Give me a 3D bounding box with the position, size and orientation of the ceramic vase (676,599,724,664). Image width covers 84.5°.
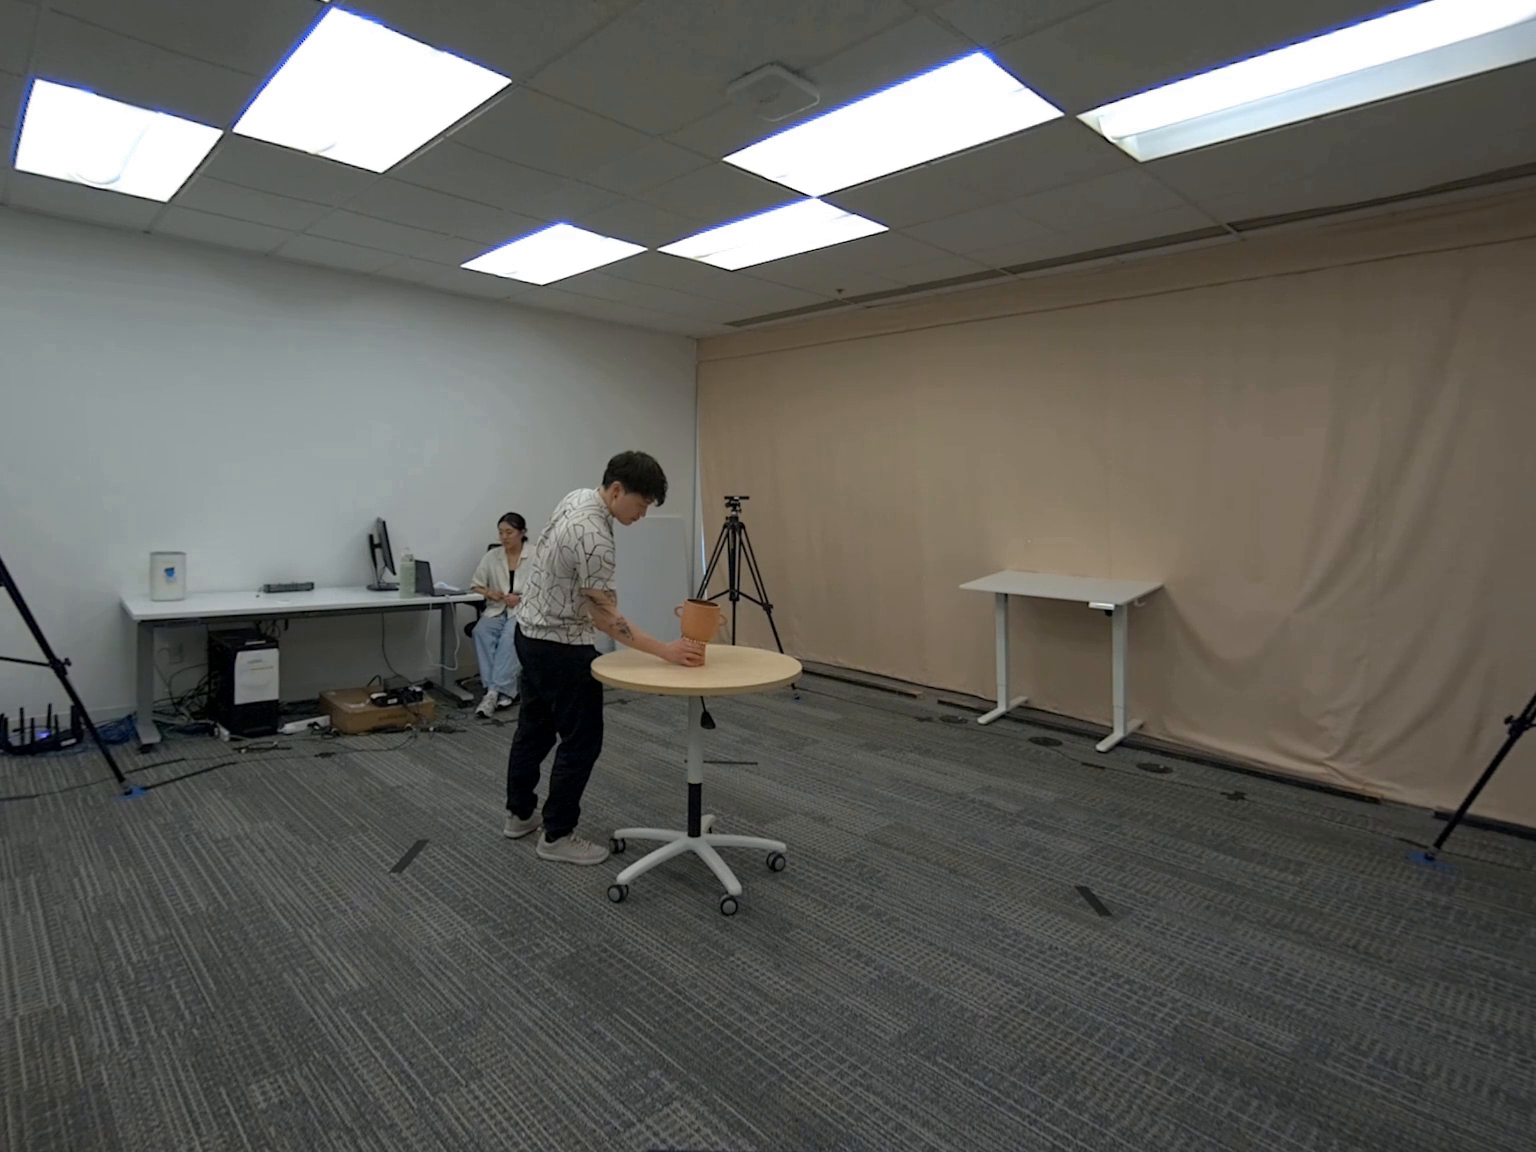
[{"bbox_3d":[-0.265,0.205,3.050,0.163,0.219,0.131,15,7,38],"label":"ceramic vase"}]
